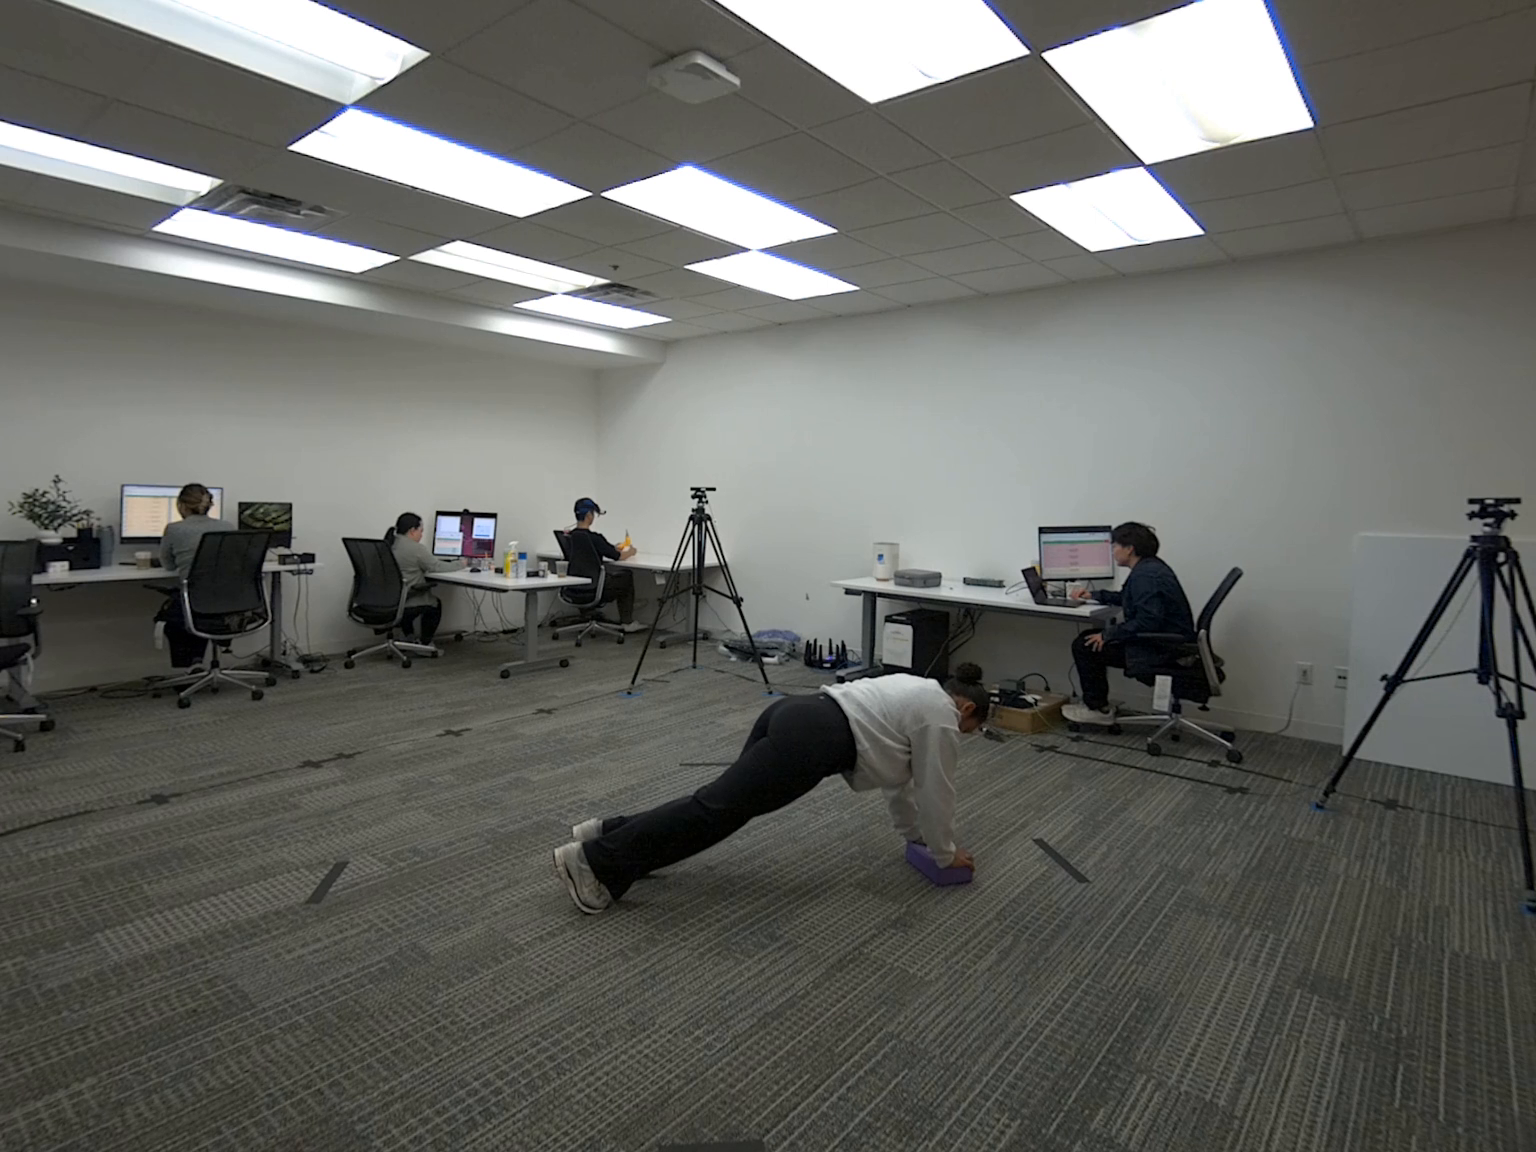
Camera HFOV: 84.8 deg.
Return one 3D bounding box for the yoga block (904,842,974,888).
[{"bbox_3d":[0.625,1.058,3.138,0.146,0.076,0.234,1,5,-20],"label":"yoga block"}]
